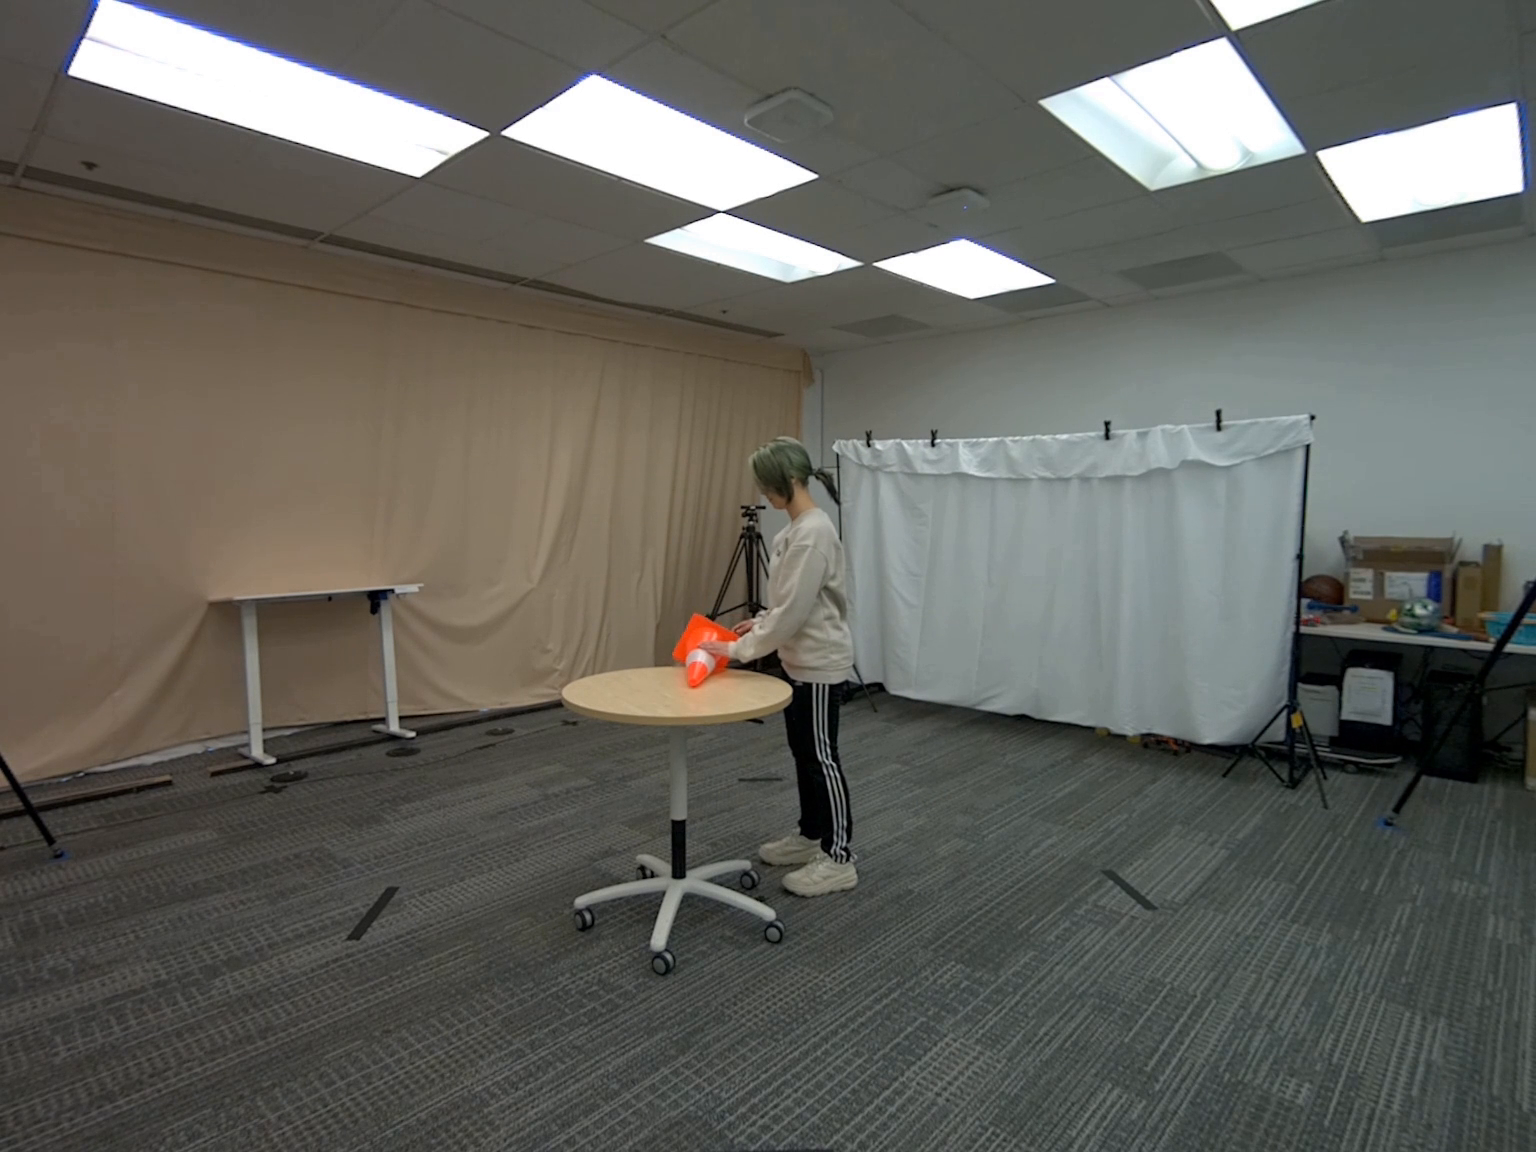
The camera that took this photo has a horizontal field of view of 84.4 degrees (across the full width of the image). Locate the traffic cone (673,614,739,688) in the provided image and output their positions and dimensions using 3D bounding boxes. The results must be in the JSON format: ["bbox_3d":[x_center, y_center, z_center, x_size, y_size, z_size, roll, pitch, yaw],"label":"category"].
[{"bbox_3d":[-0.253,0.319,3.000,0.204,0.203,0.384,31,15,-3],"label":"traffic cone"}]
